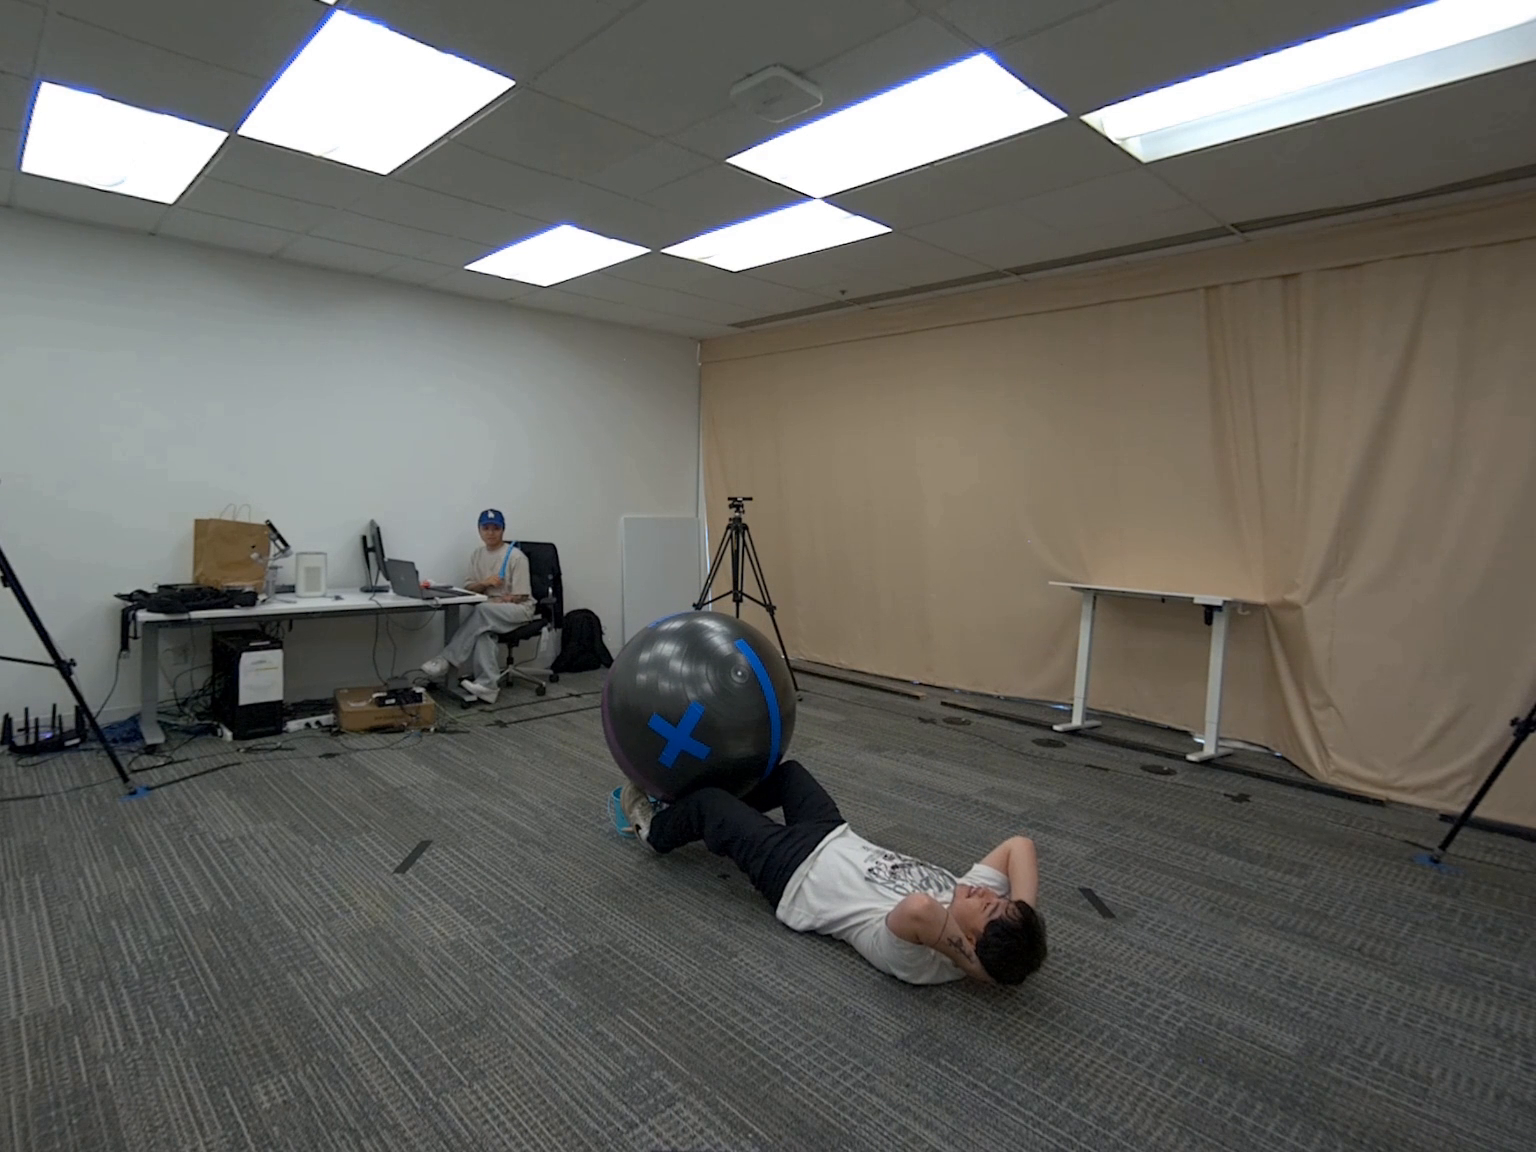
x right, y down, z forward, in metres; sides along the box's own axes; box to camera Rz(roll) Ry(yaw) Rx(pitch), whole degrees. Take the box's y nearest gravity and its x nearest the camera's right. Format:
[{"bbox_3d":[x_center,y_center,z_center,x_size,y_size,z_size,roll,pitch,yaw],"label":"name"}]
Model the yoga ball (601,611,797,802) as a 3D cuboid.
[{"bbox_3d":[-0.275,0.511,3.294,0.757,0.756,0.760,1,4,-1],"label":"yoga ball"}]
